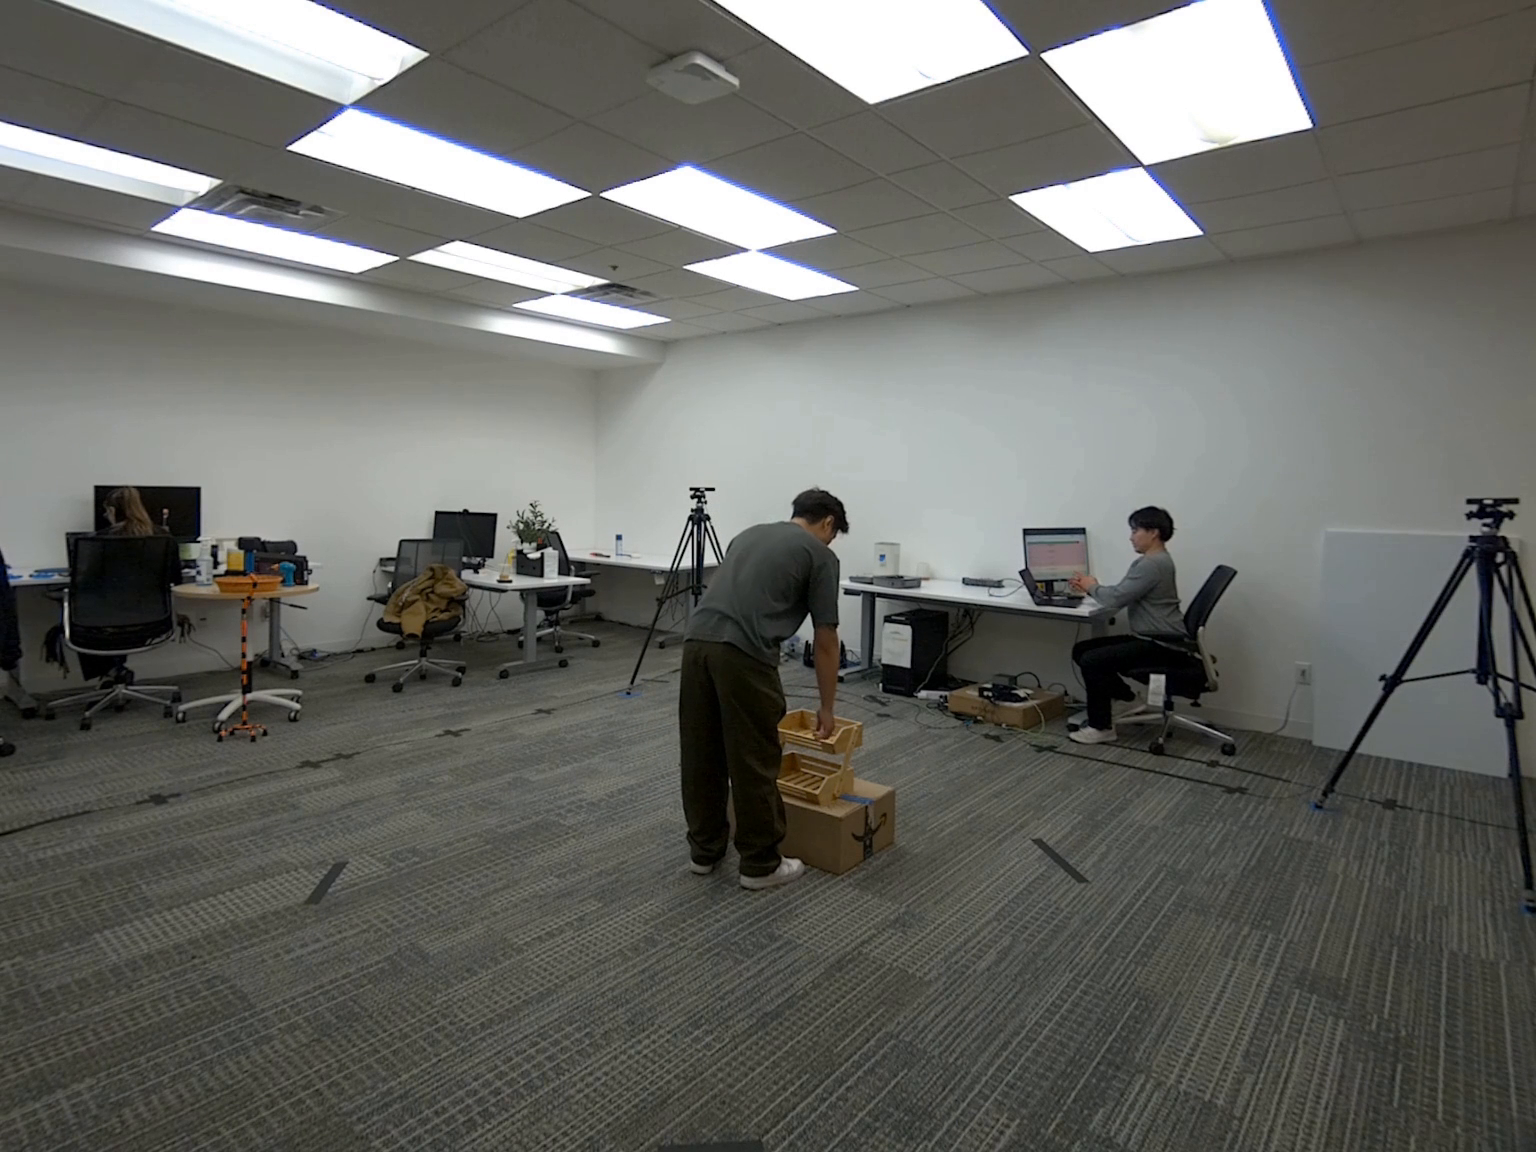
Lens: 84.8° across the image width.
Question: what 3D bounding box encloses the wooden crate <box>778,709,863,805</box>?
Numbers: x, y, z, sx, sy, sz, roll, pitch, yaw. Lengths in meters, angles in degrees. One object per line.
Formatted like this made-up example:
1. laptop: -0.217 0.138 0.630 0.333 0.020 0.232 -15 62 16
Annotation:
1. wooden crate: 0.157 0.701 3.384 0.335 0.272 0.293 6 5 39
